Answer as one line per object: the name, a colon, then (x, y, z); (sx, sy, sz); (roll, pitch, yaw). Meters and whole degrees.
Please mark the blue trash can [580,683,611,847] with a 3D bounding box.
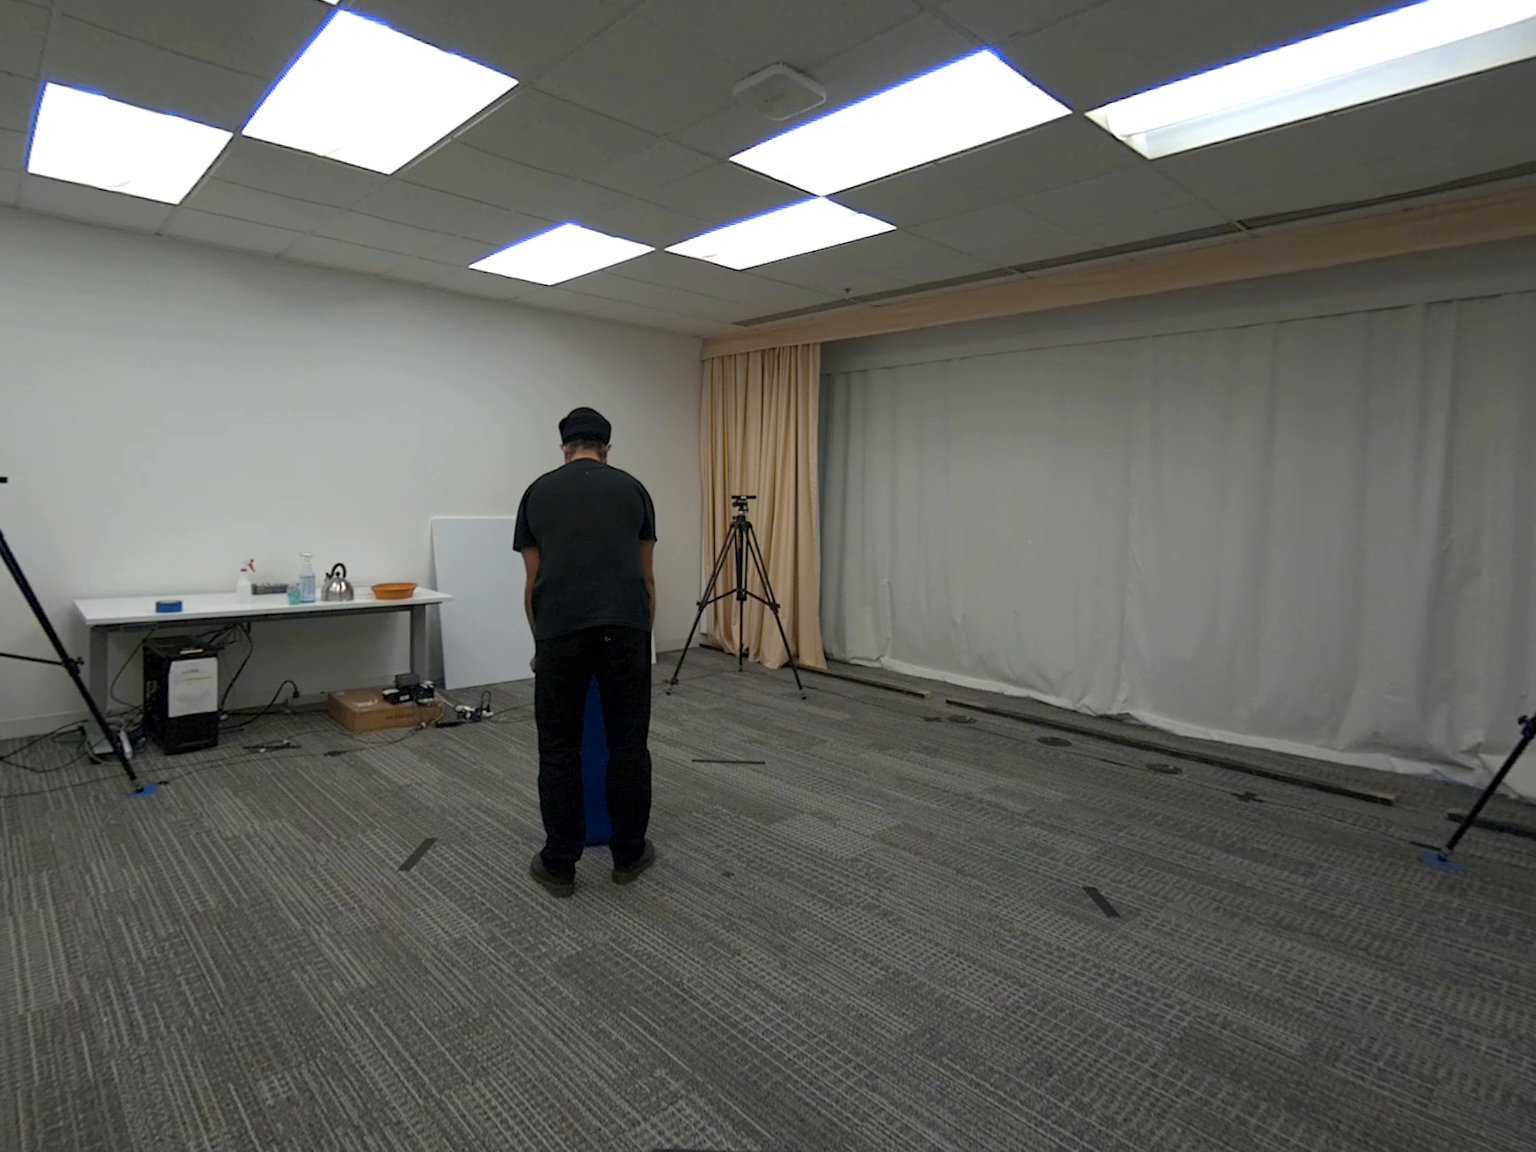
blue trash can: (-0.743, 0.695, 3.455); (0.374, 0.713, 0.378); (0, 0, -14)
